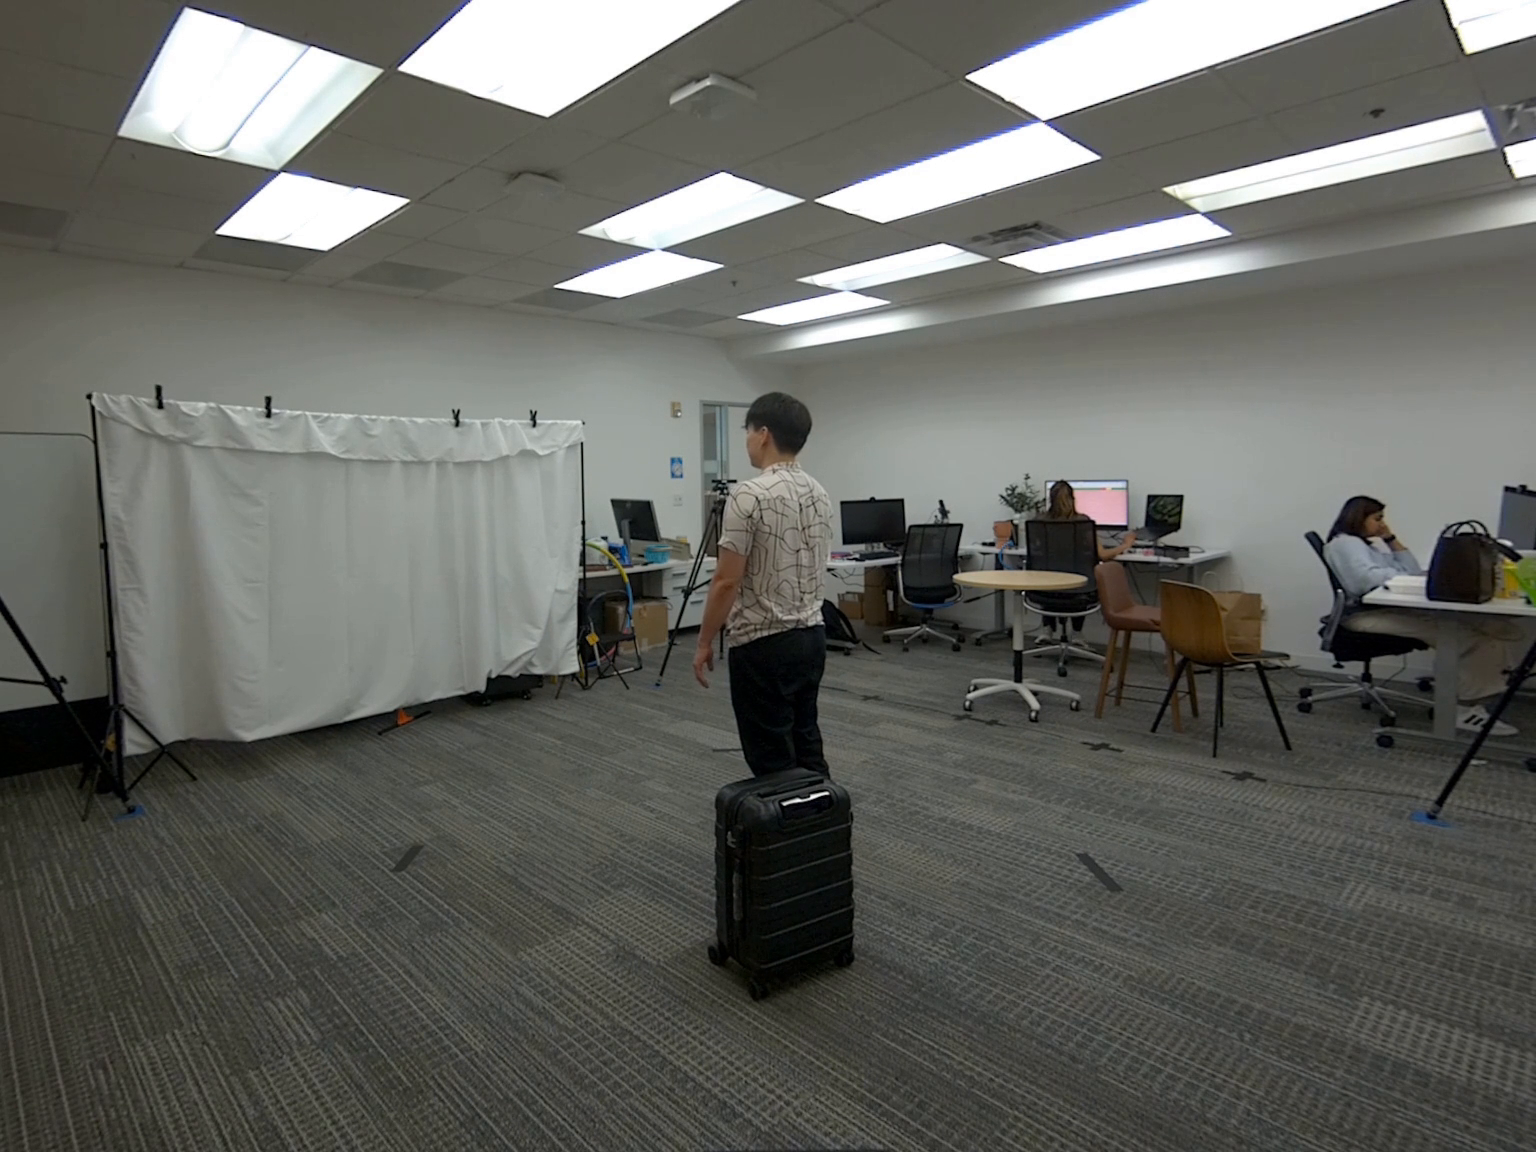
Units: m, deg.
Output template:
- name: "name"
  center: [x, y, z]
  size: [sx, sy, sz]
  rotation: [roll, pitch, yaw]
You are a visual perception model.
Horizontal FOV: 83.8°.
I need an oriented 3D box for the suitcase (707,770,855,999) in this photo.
- name: "suitcase"
  center: [0.043, 0.849, 2.437]
  size: [0.366, 0.547, 0.255]
  rotation: [-3, 5, -31]
